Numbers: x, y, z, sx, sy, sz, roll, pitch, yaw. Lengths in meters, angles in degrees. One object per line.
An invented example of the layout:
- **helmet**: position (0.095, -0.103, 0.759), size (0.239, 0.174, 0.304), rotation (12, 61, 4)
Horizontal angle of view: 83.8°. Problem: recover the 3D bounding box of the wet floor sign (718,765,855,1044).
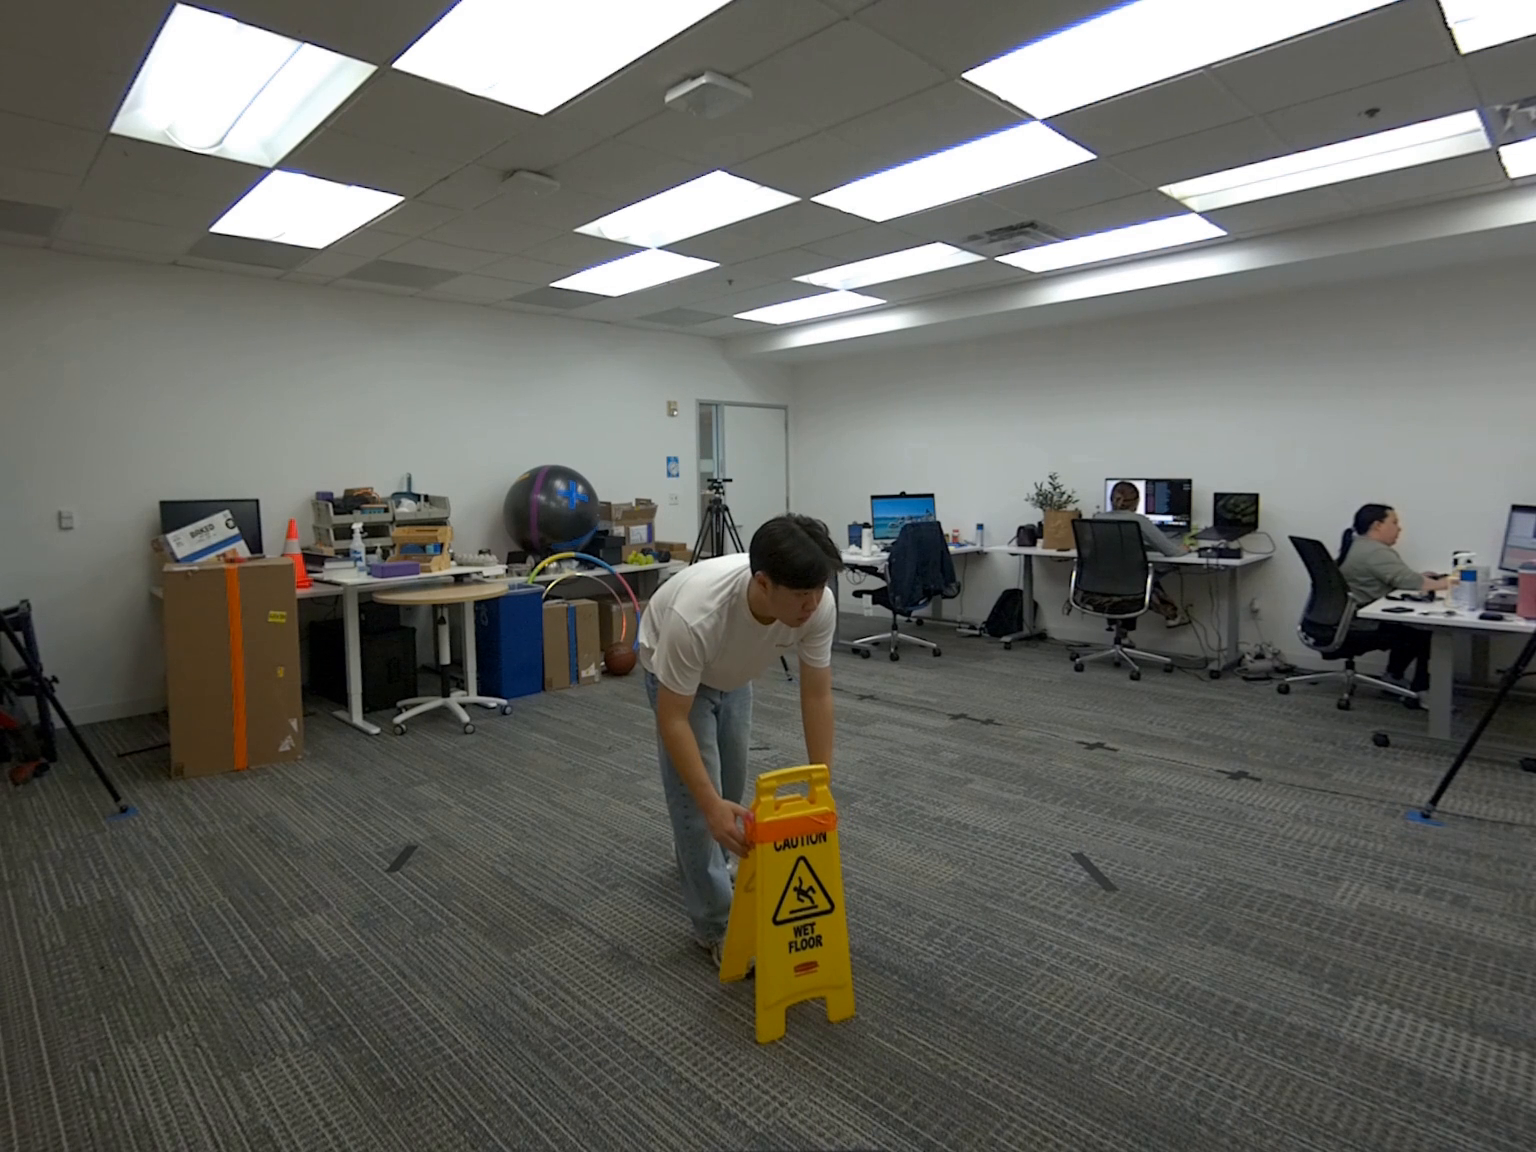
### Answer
- **wet floor sign**: position (0.061, 0.811, 2.223), size (0.277, 0.640, 0.298), rotation (-3, 10, -23)
